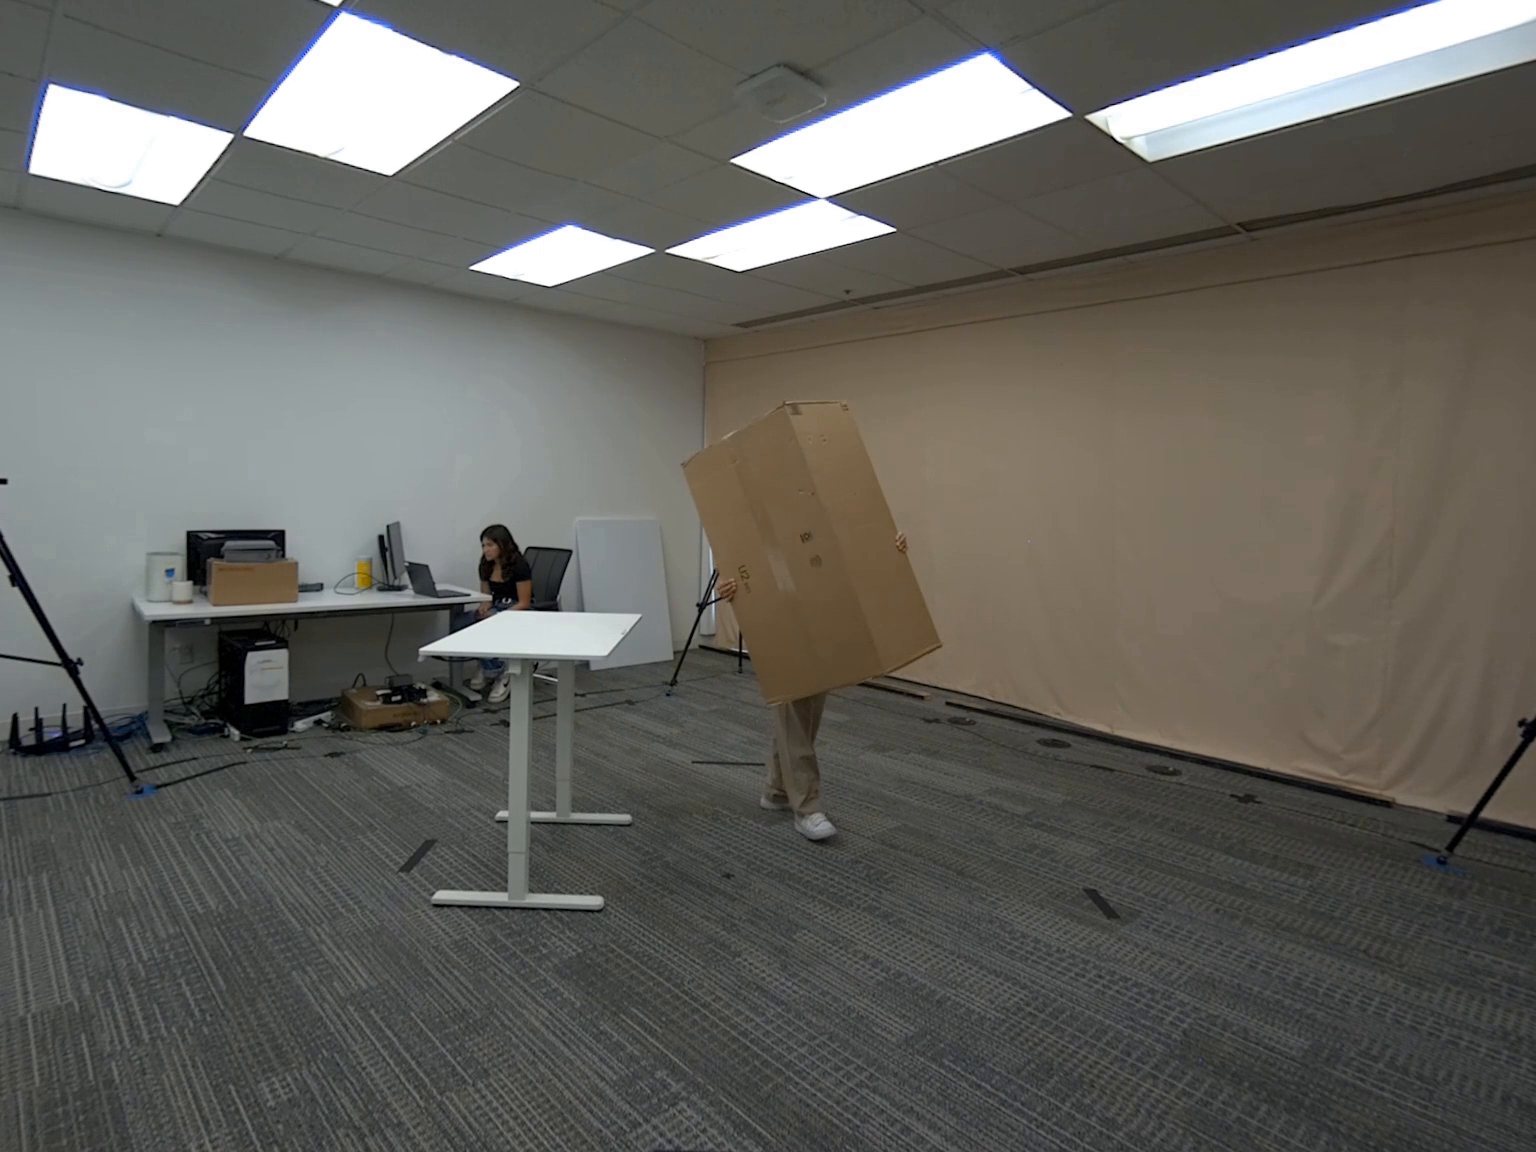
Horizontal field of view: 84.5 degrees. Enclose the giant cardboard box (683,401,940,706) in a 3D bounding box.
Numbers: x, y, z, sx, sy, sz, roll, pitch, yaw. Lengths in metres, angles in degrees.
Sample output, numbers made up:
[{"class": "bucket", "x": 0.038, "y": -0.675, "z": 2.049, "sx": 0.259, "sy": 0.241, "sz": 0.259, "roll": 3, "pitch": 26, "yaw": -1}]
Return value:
[{"class": "giant cardboard box", "x": 0.161, "y": -0.086, "z": 3.266, "sx": 0.584, "sy": 1.032, "sz": 0.418, "roll": -25, "pitch": -7, "yaw": 39}]
